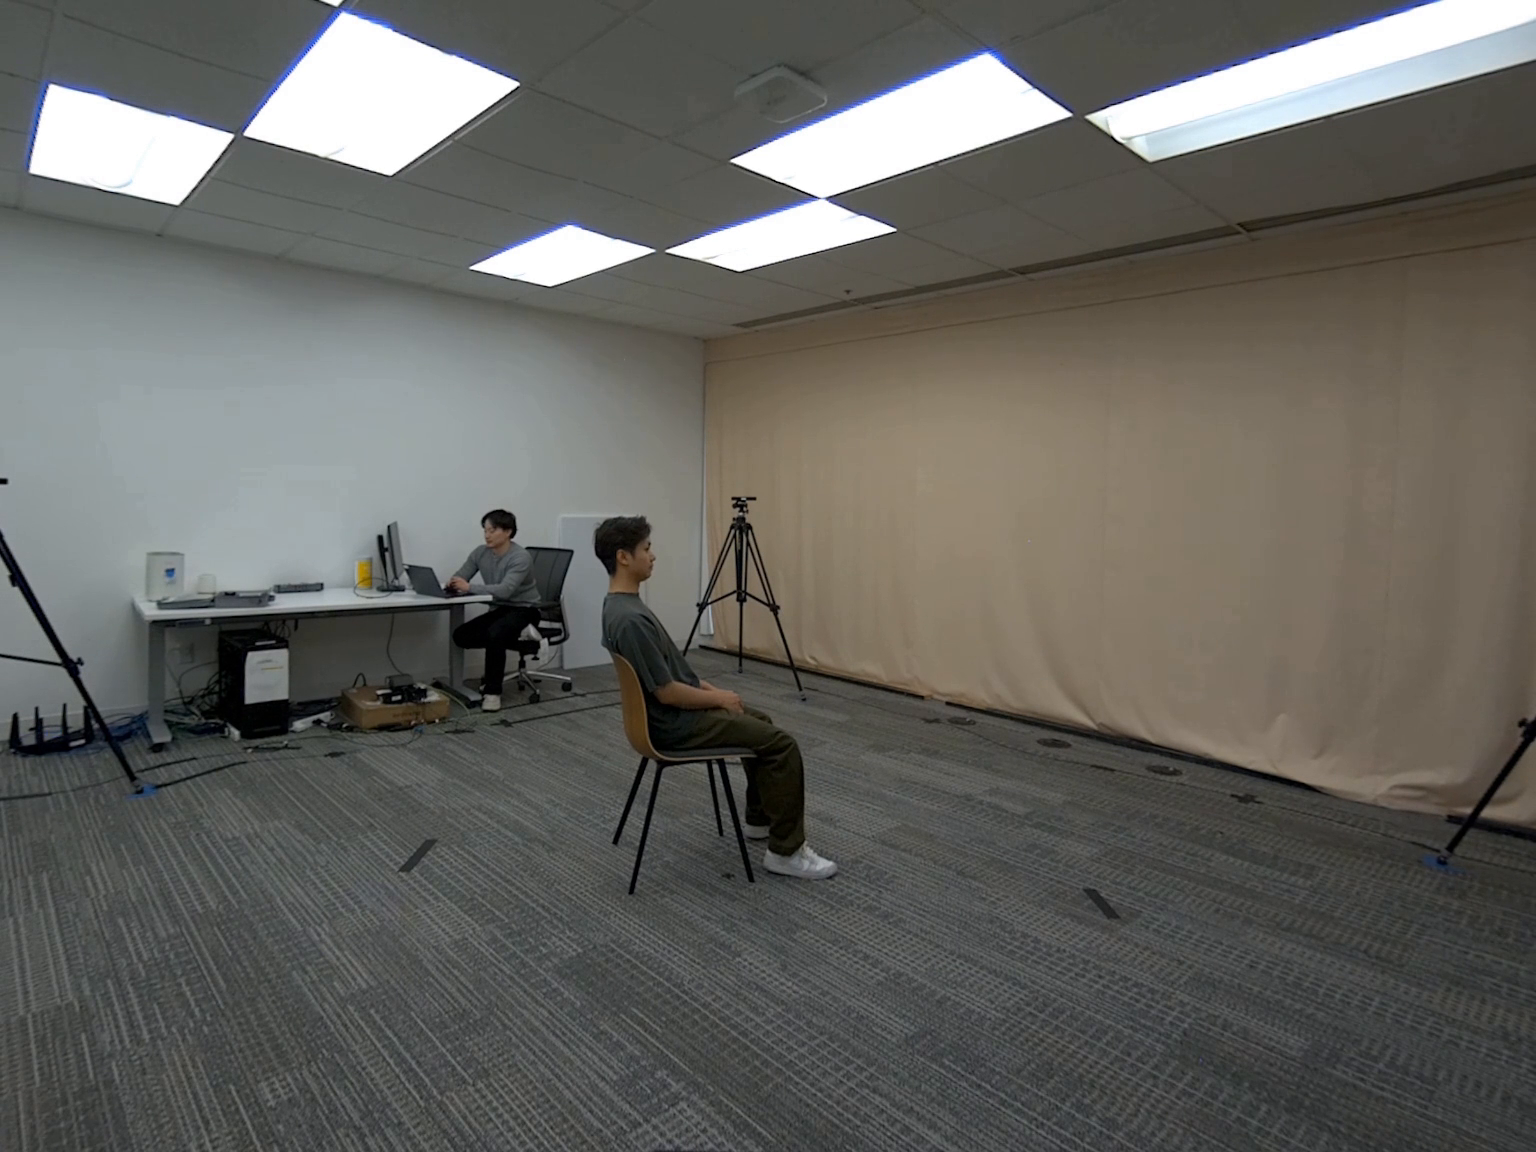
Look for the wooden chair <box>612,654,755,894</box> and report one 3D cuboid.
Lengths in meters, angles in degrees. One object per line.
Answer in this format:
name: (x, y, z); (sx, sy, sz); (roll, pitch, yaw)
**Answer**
wooden chair: (-0.328, 0.663, 3.182); (0.517, 0.875, 0.485); (-4, 4, -16)
